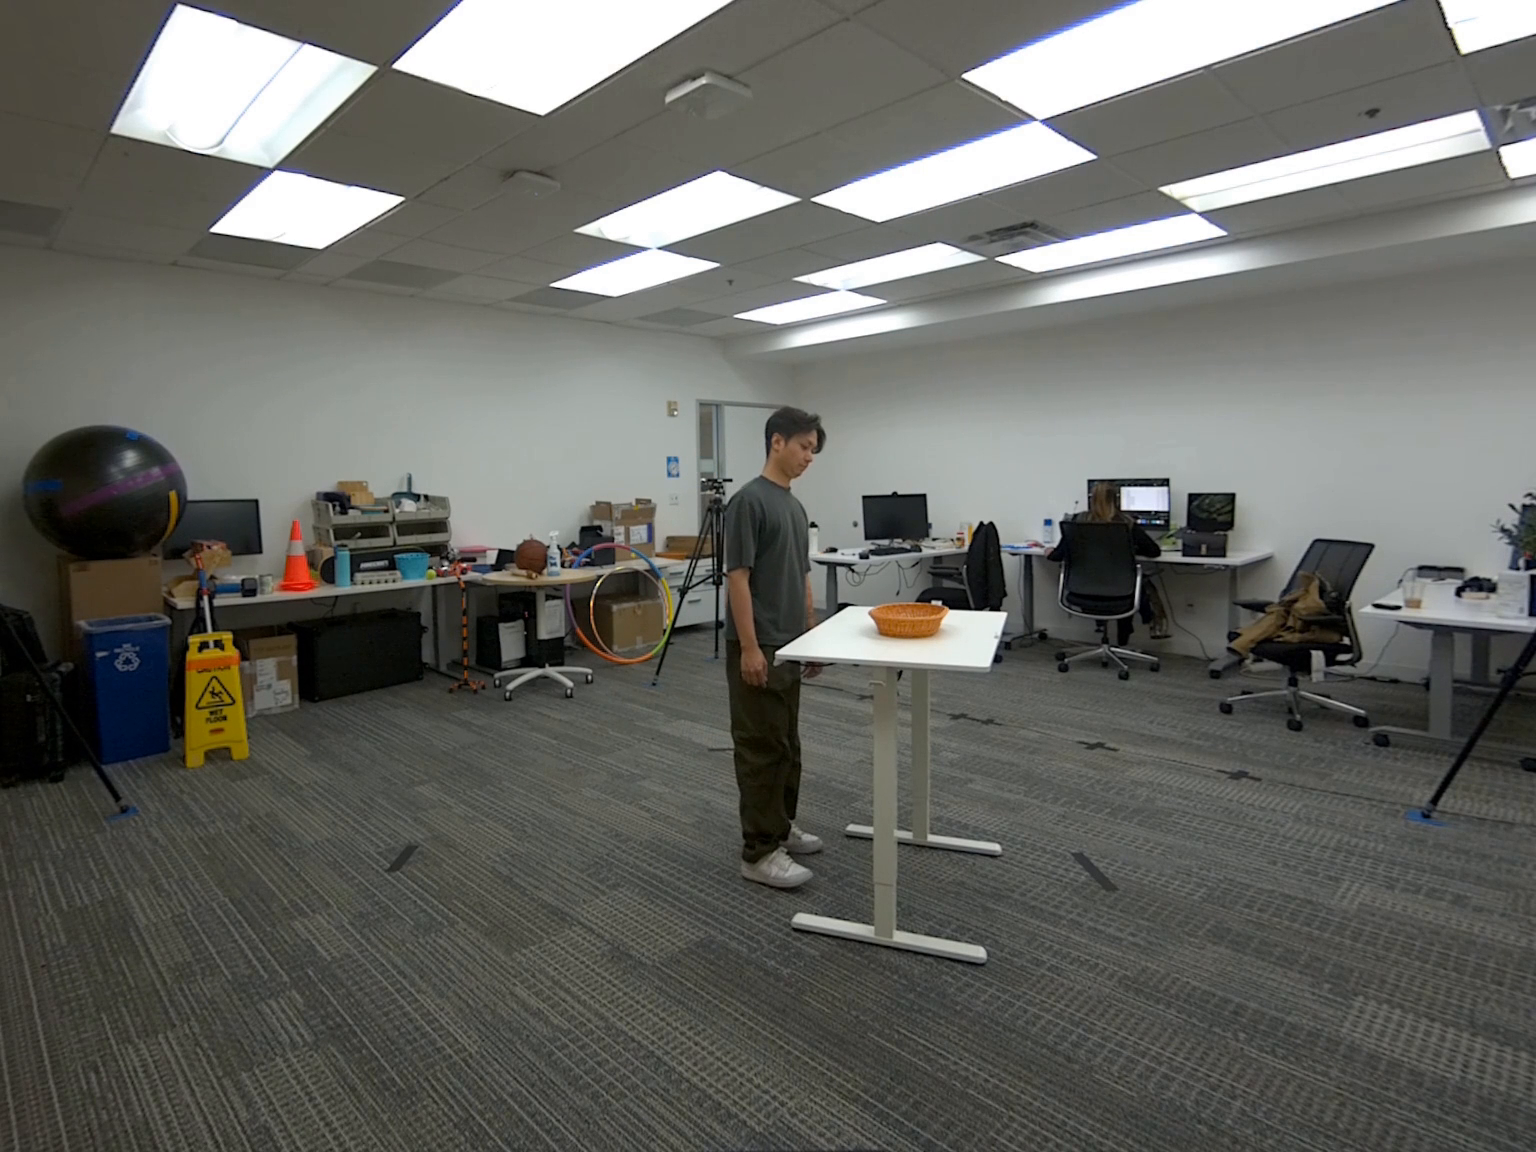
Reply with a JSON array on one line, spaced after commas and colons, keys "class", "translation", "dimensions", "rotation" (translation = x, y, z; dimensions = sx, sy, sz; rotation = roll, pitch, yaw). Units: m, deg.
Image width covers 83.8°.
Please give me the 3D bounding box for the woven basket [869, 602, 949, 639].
[{"class": "woven basket", "translation": [0.483, 0.153, 2.833], "dimensions": [0.258, 0.073, 0.344], "rotation": [2, 7, 23]}]
